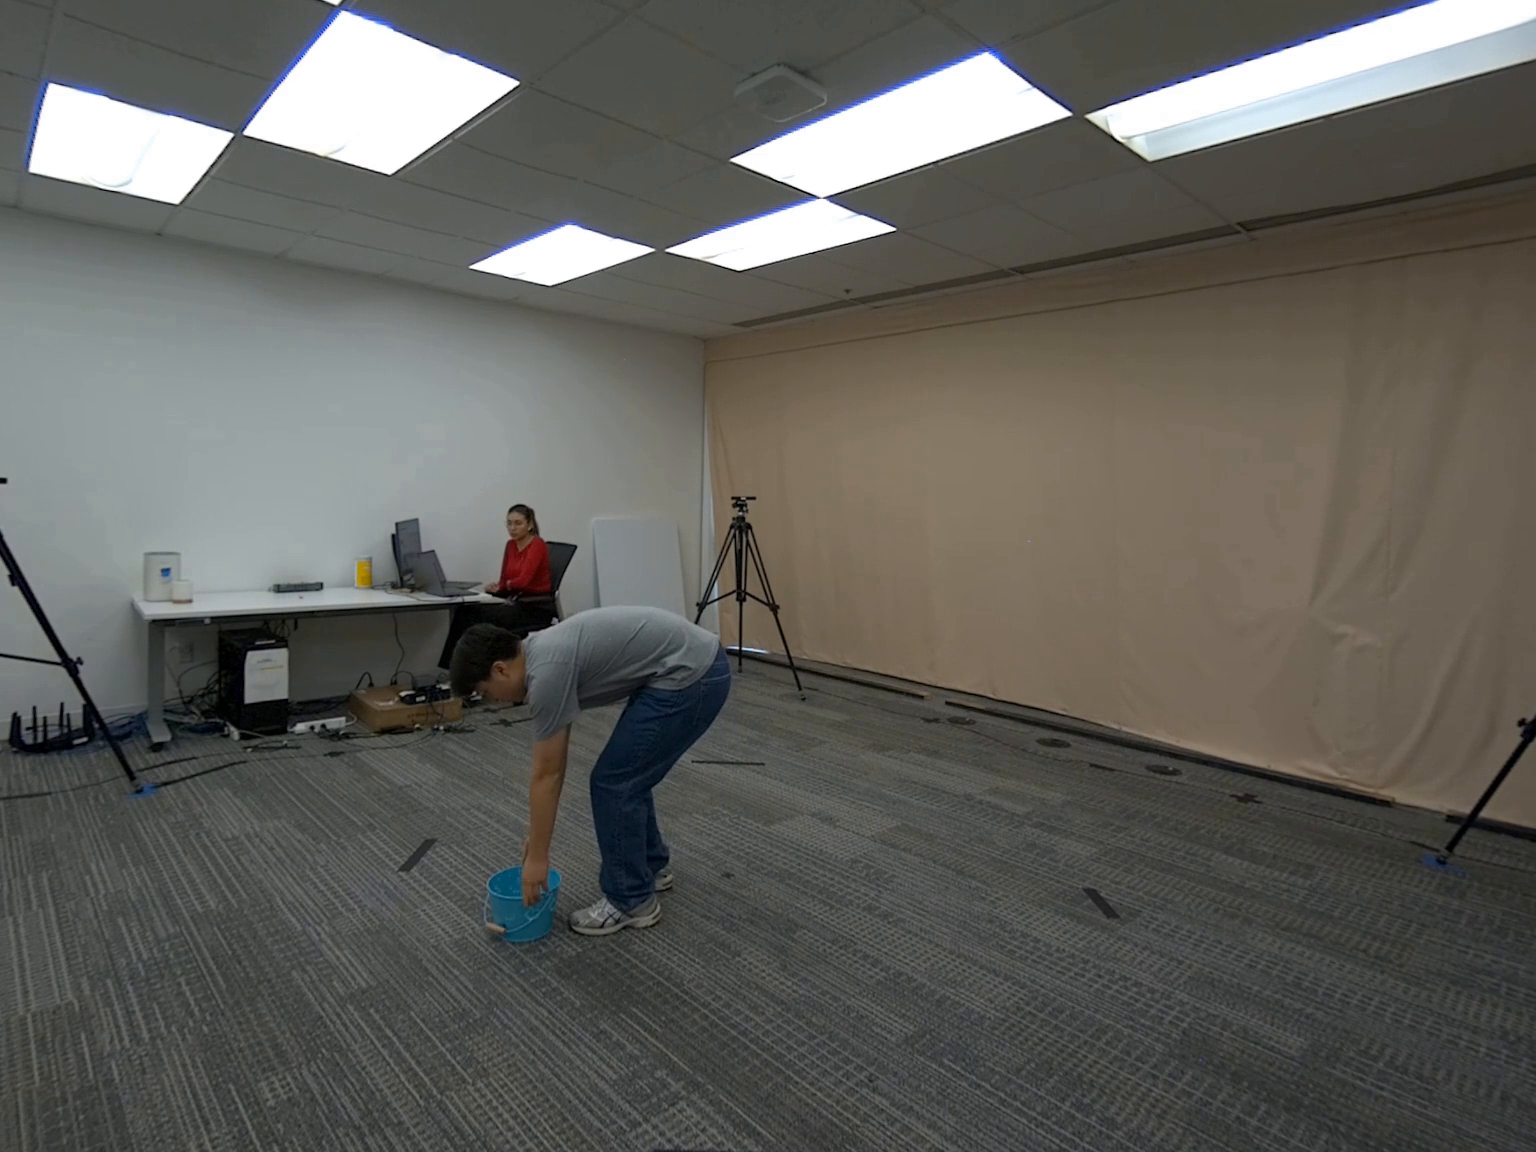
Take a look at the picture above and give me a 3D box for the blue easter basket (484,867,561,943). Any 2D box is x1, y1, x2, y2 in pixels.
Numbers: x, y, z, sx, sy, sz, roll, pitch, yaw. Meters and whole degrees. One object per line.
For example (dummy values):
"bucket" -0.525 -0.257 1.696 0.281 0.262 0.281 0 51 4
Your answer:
"blue easter basket" -0.785 1.048 2.699 0.243 0.155 0.244 3 5 -2
